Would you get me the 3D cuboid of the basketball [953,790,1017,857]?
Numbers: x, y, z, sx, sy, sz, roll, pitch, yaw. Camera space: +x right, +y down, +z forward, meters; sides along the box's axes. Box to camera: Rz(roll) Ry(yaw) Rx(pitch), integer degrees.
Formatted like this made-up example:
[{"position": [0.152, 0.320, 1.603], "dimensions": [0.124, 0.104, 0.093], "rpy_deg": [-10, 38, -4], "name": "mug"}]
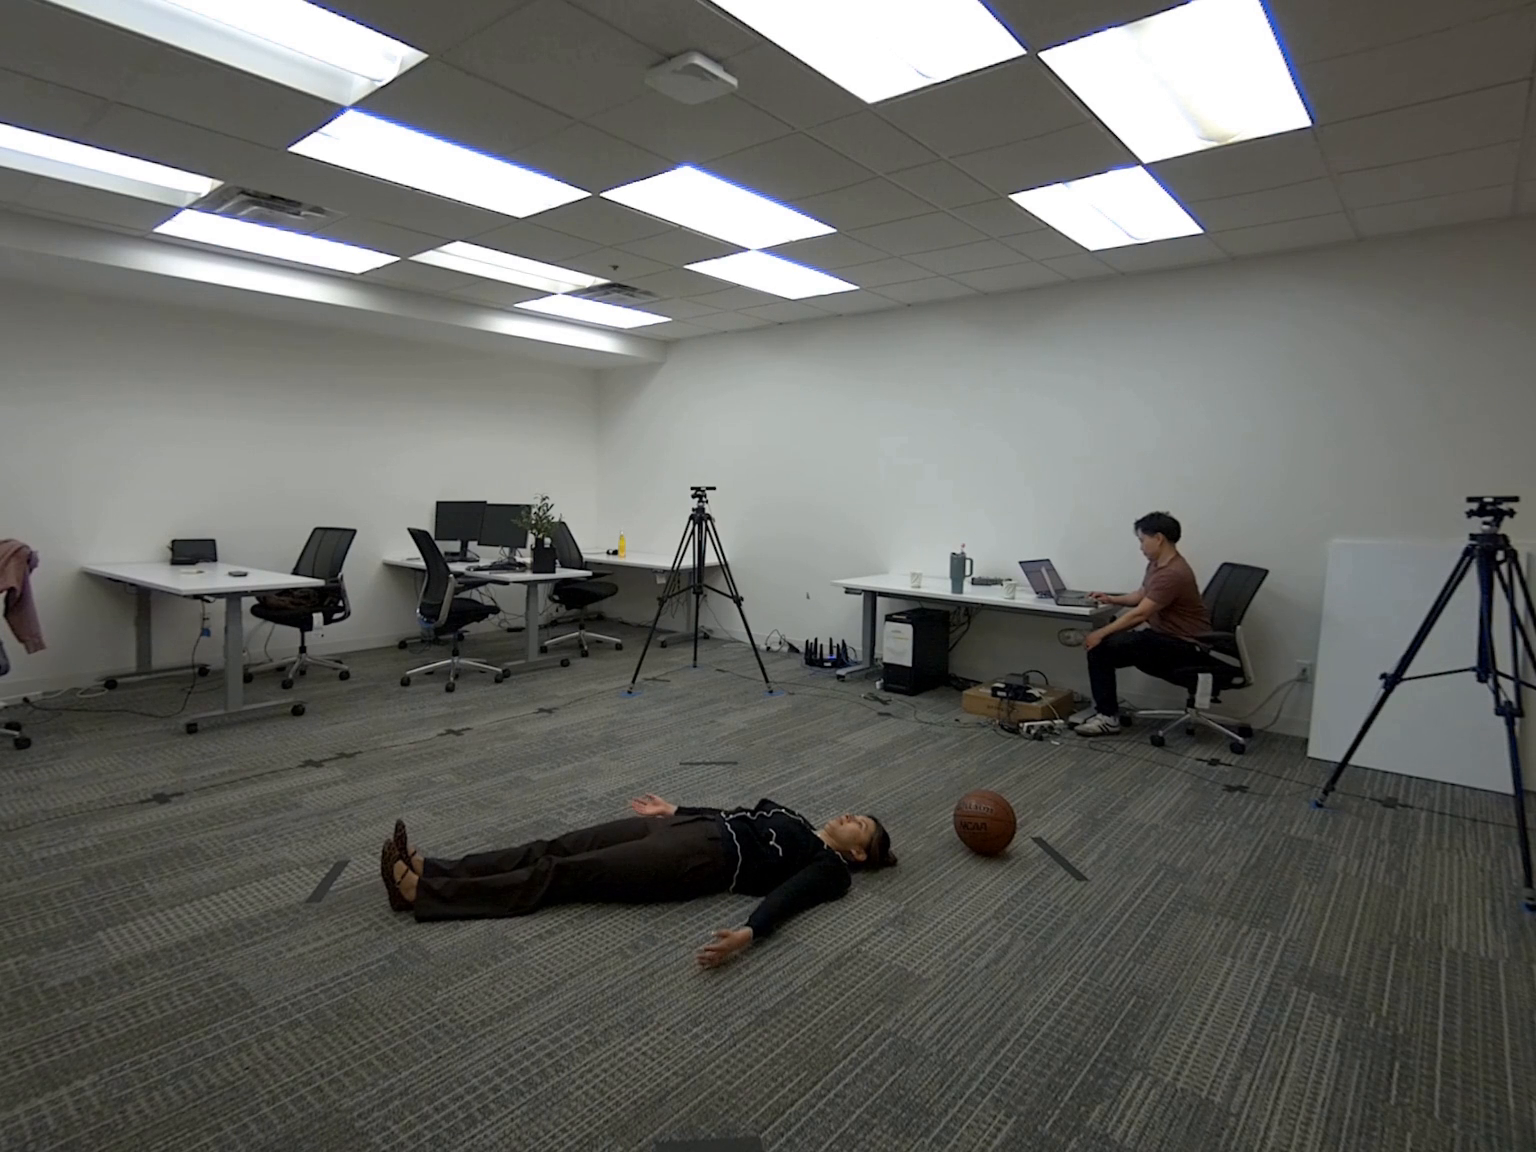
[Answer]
[{"position": [0.833, 0.947, 3.311], "dimensions": [0.236, 0.235, 0.237], "rpy_deg": [1, 4, -2], "name": "basketball"}]
